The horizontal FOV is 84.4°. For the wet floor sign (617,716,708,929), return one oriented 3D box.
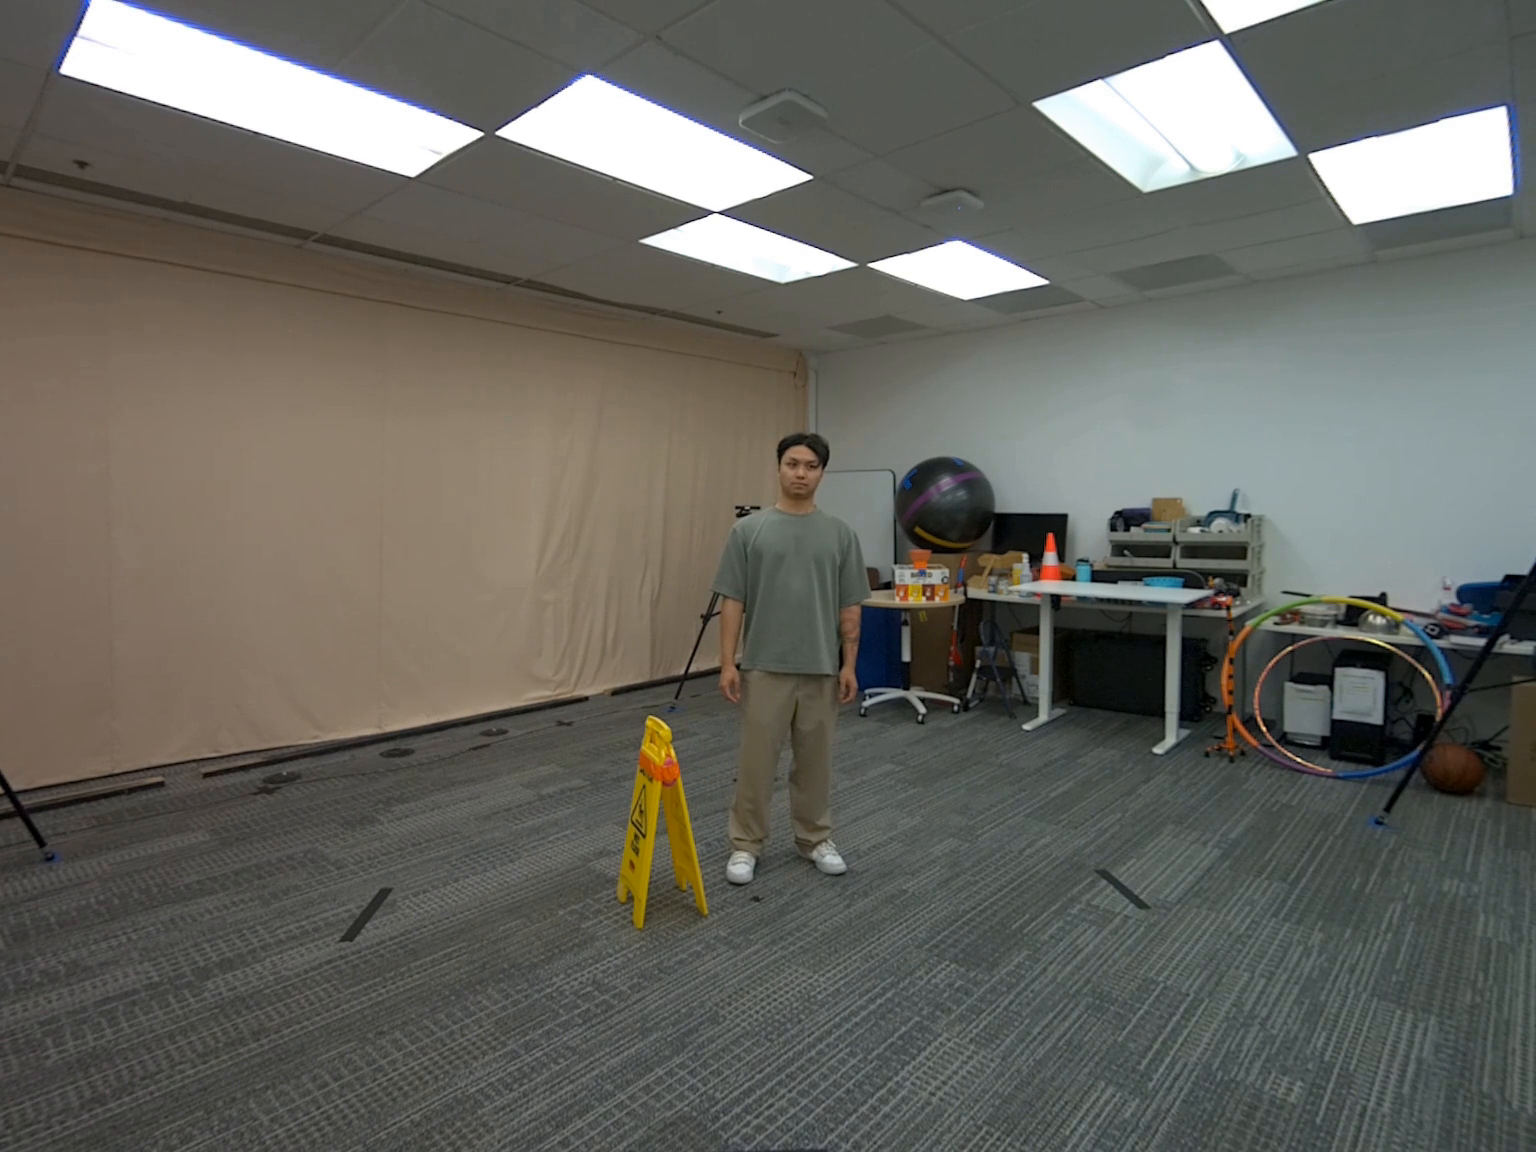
[{"bbox_3d":[-0.373,0.824,2.920,0.283,0.645,0.289,-2,4,-24],"label":"wet floor sign"}]
